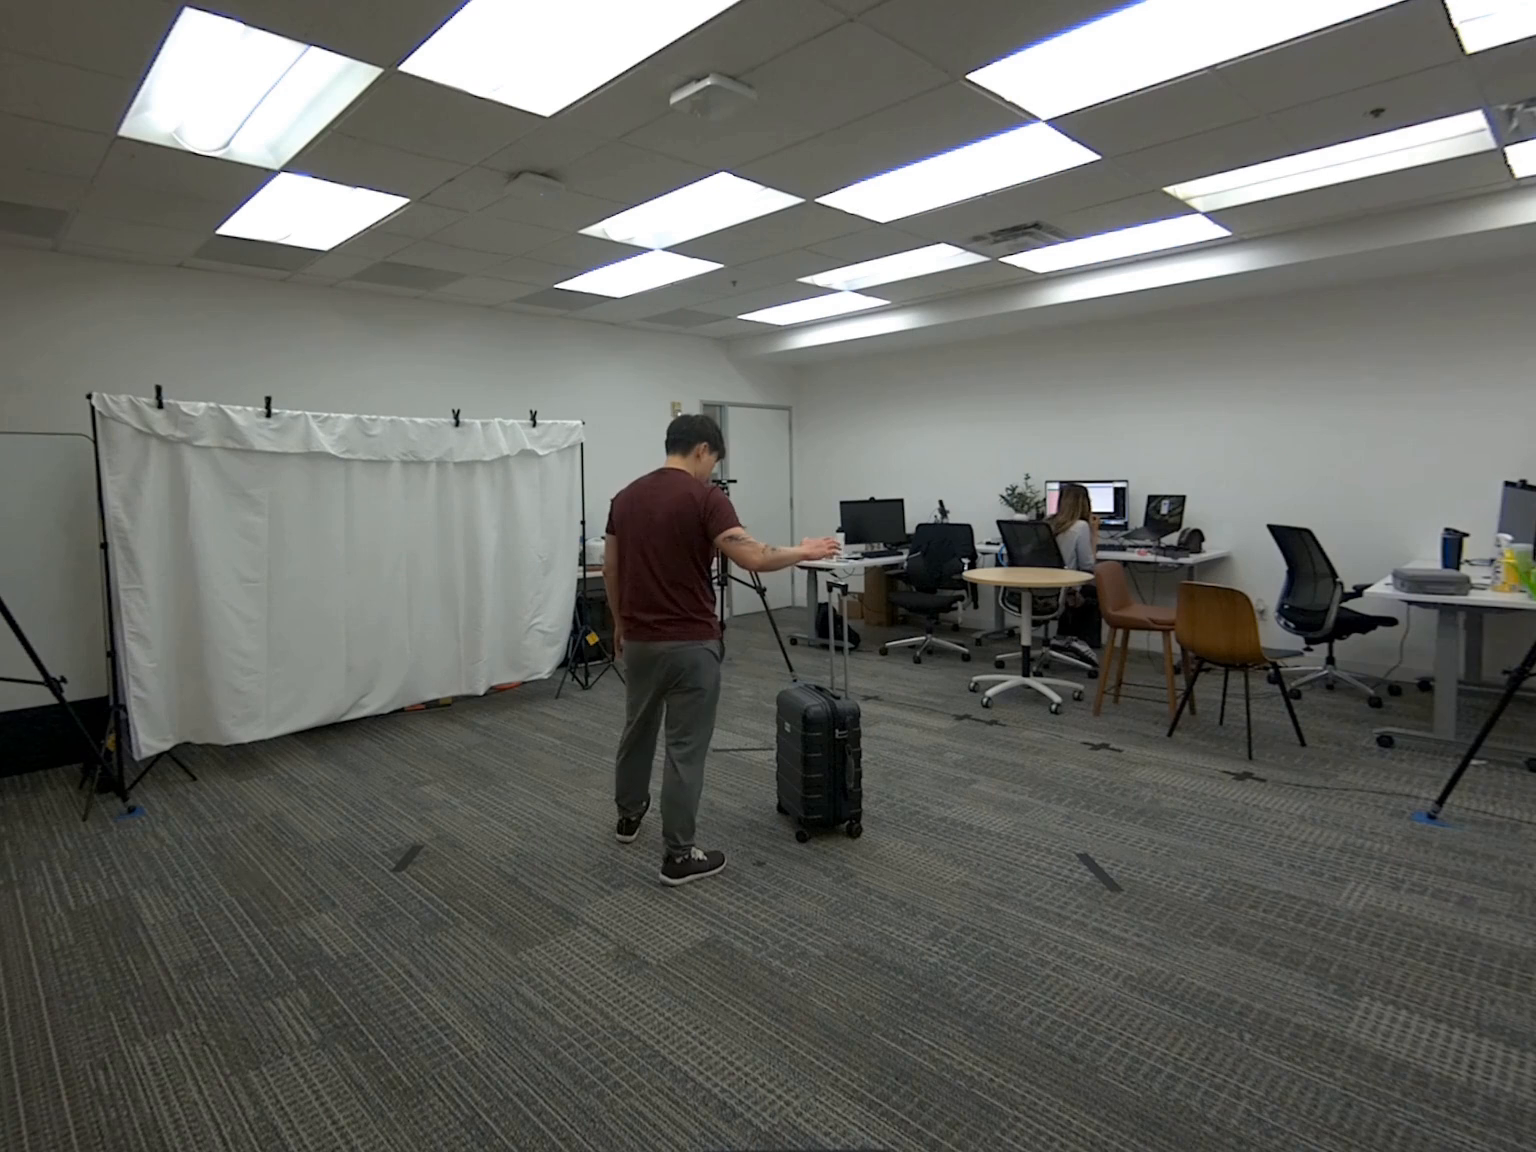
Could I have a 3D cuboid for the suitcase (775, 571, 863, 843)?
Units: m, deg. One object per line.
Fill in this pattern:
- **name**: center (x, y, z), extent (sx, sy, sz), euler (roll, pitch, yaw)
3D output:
- **suitcase**: center (0.195, 0.529, 3.430), extent (0.254, 0.976, 0.390), euler (-3, 3, -15)
